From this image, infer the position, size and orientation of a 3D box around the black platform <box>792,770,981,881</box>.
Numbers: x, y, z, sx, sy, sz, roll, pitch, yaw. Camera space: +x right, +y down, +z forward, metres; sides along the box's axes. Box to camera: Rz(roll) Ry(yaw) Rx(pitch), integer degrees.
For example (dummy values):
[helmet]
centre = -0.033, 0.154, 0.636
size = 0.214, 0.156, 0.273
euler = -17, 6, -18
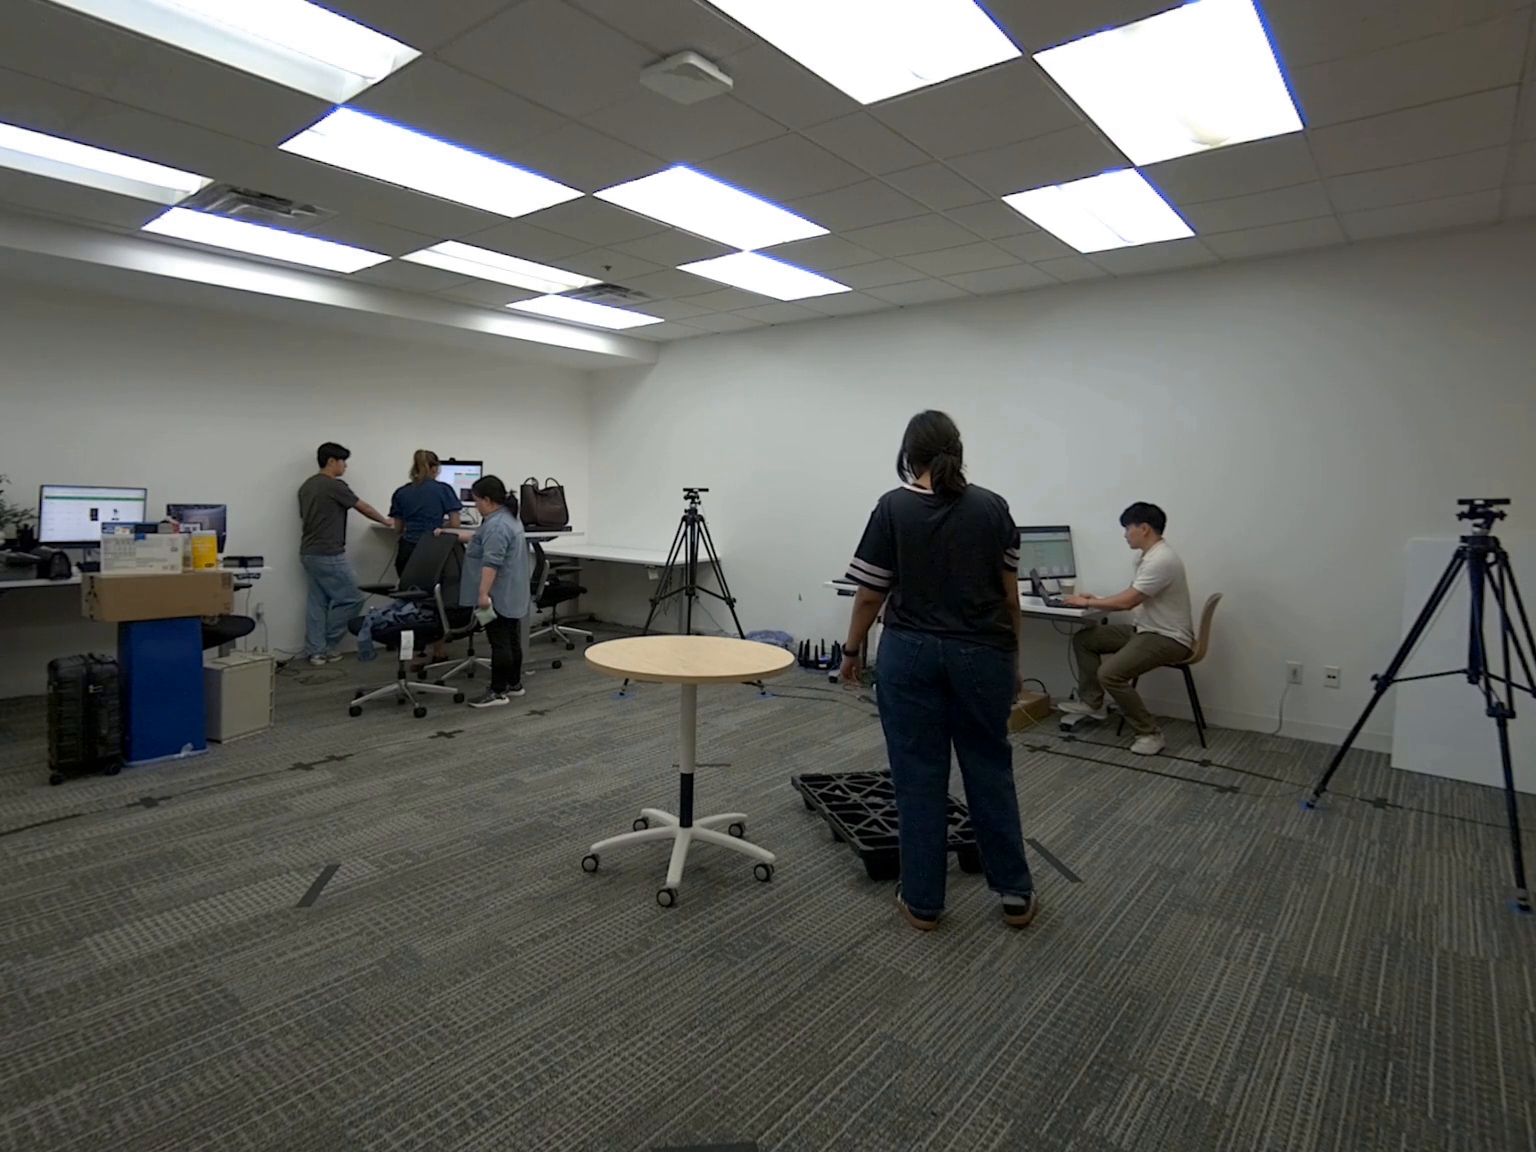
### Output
[black platform]
centre = 0.486, 0.985, 3.448
size = 0.596, 0.143, 0.822
euler = -1, 6, -16
